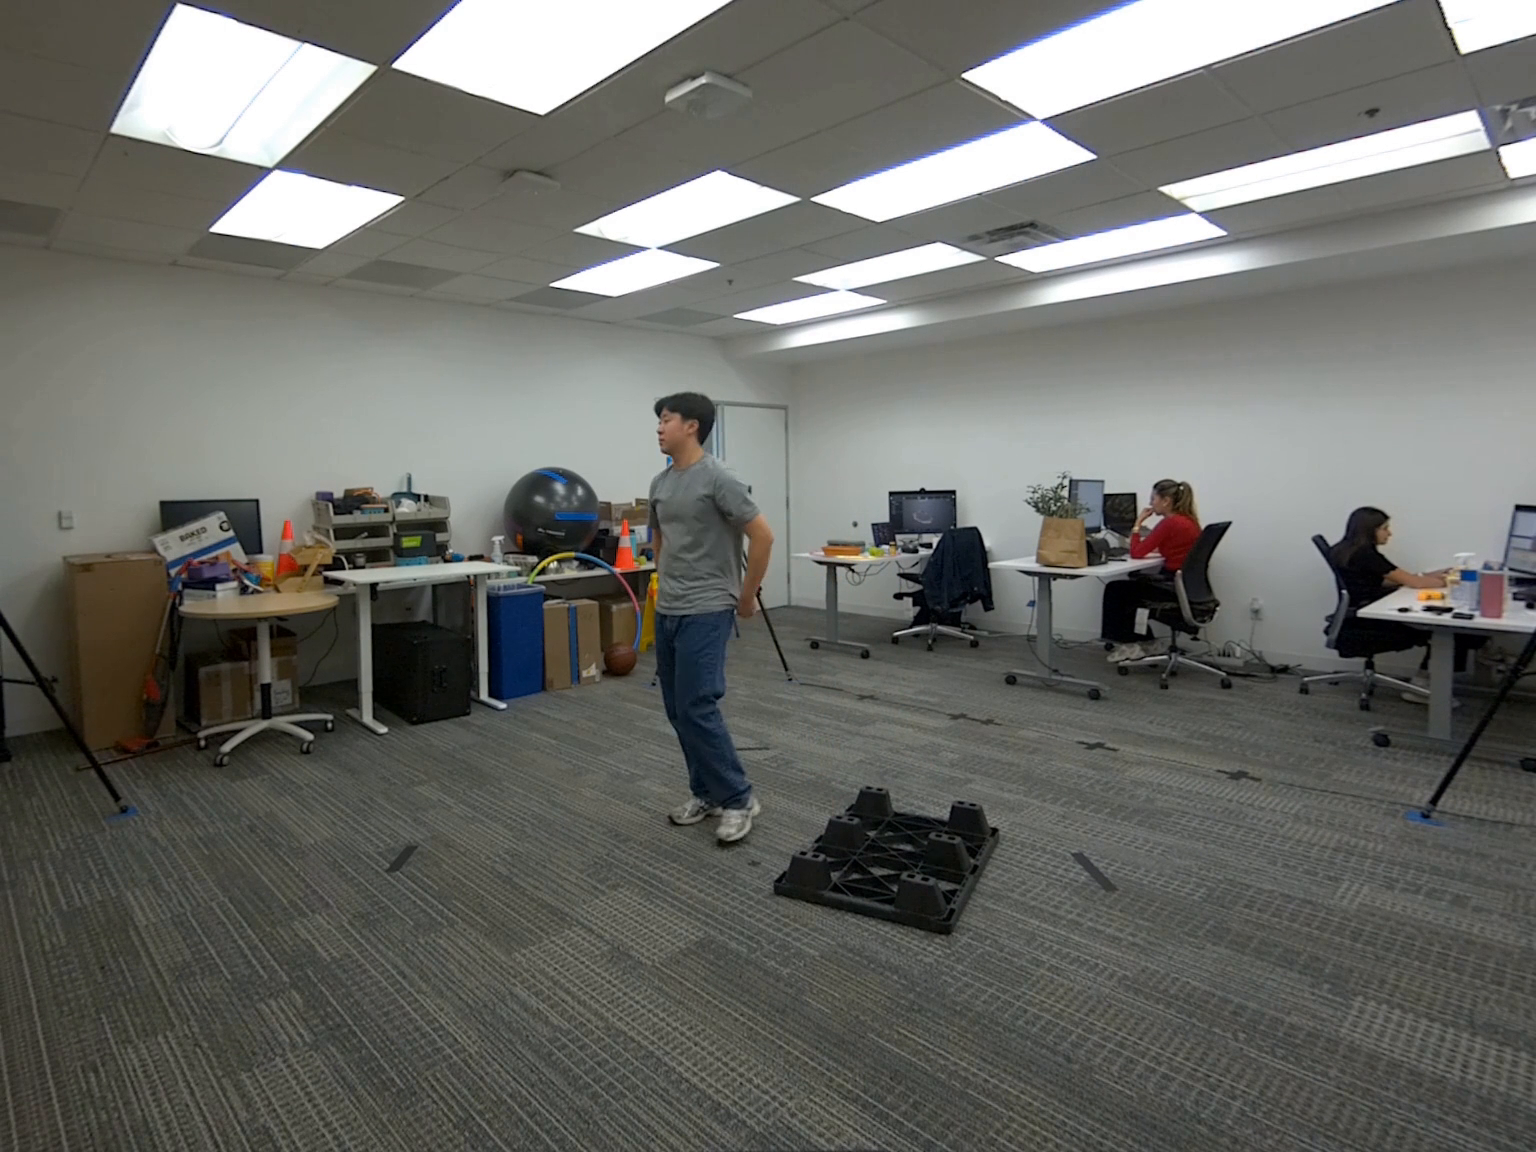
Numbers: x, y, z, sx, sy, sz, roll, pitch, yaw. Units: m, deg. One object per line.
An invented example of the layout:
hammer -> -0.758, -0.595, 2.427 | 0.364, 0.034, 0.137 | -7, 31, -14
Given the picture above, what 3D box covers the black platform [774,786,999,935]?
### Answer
black platform -> 0.456, 0.974, 3.068 | 0.620, 0.142, 0.790 | 2, 7, 26
